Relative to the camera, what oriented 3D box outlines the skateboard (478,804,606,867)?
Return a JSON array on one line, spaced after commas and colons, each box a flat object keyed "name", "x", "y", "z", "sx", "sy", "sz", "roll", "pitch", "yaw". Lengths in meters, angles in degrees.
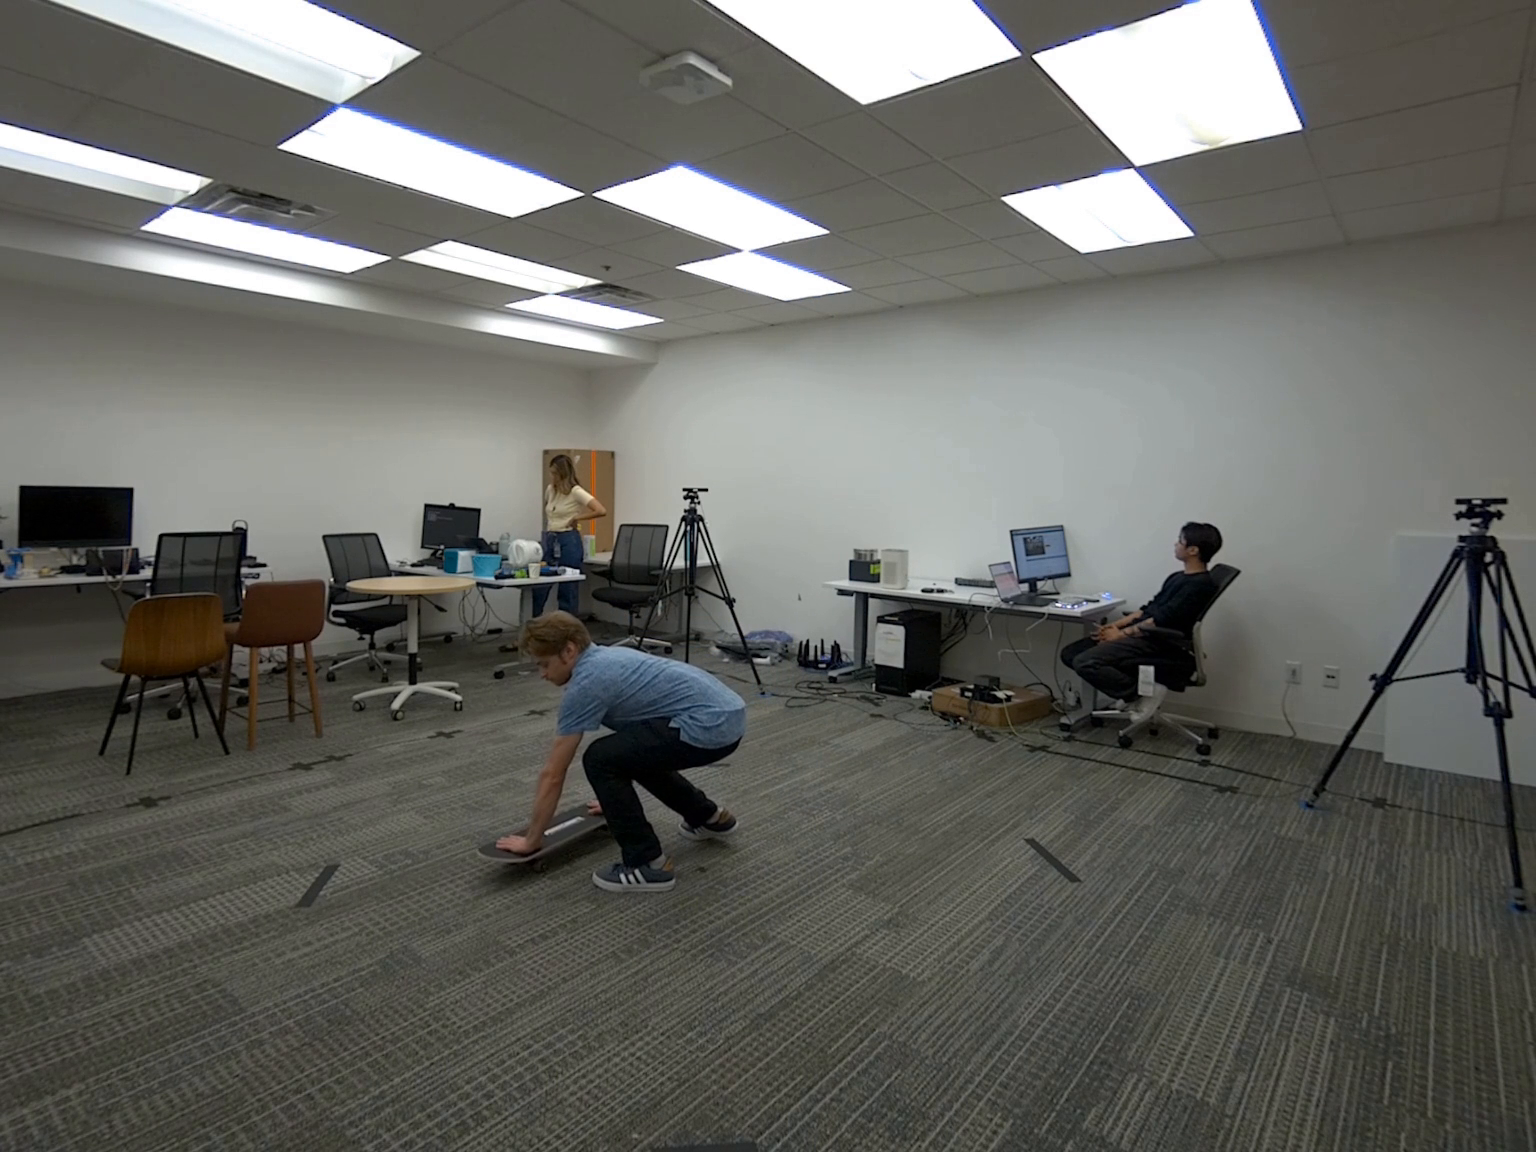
[{"name": "skateboard", "x": -0.788, "y": 0.989, "z": 3.260, "sx": 0.199, "sy": 0.110, "sz": 0.765, "roll": 2, "pitch": 5, "yaw": 32}]
